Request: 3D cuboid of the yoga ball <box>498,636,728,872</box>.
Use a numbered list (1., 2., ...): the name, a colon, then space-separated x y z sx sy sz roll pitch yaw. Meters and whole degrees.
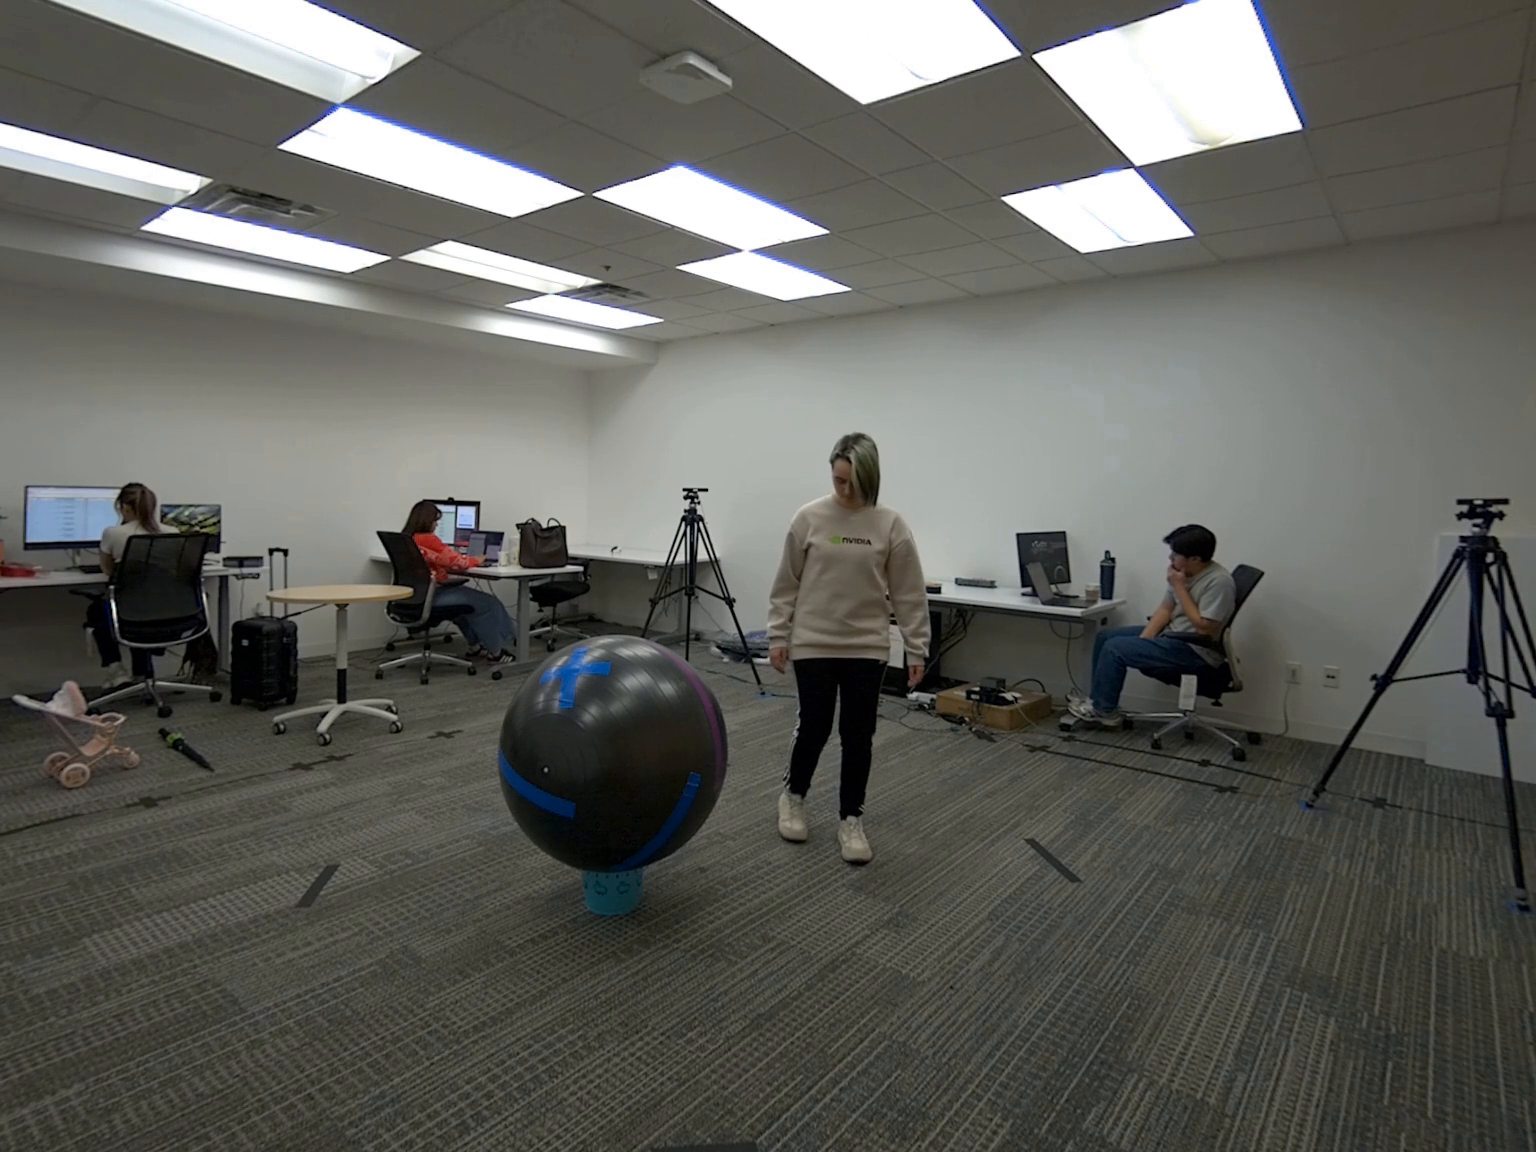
1. yoga ball: -0.517 0.578 2.826 0.757 0.756 0.761 1 4 -2
